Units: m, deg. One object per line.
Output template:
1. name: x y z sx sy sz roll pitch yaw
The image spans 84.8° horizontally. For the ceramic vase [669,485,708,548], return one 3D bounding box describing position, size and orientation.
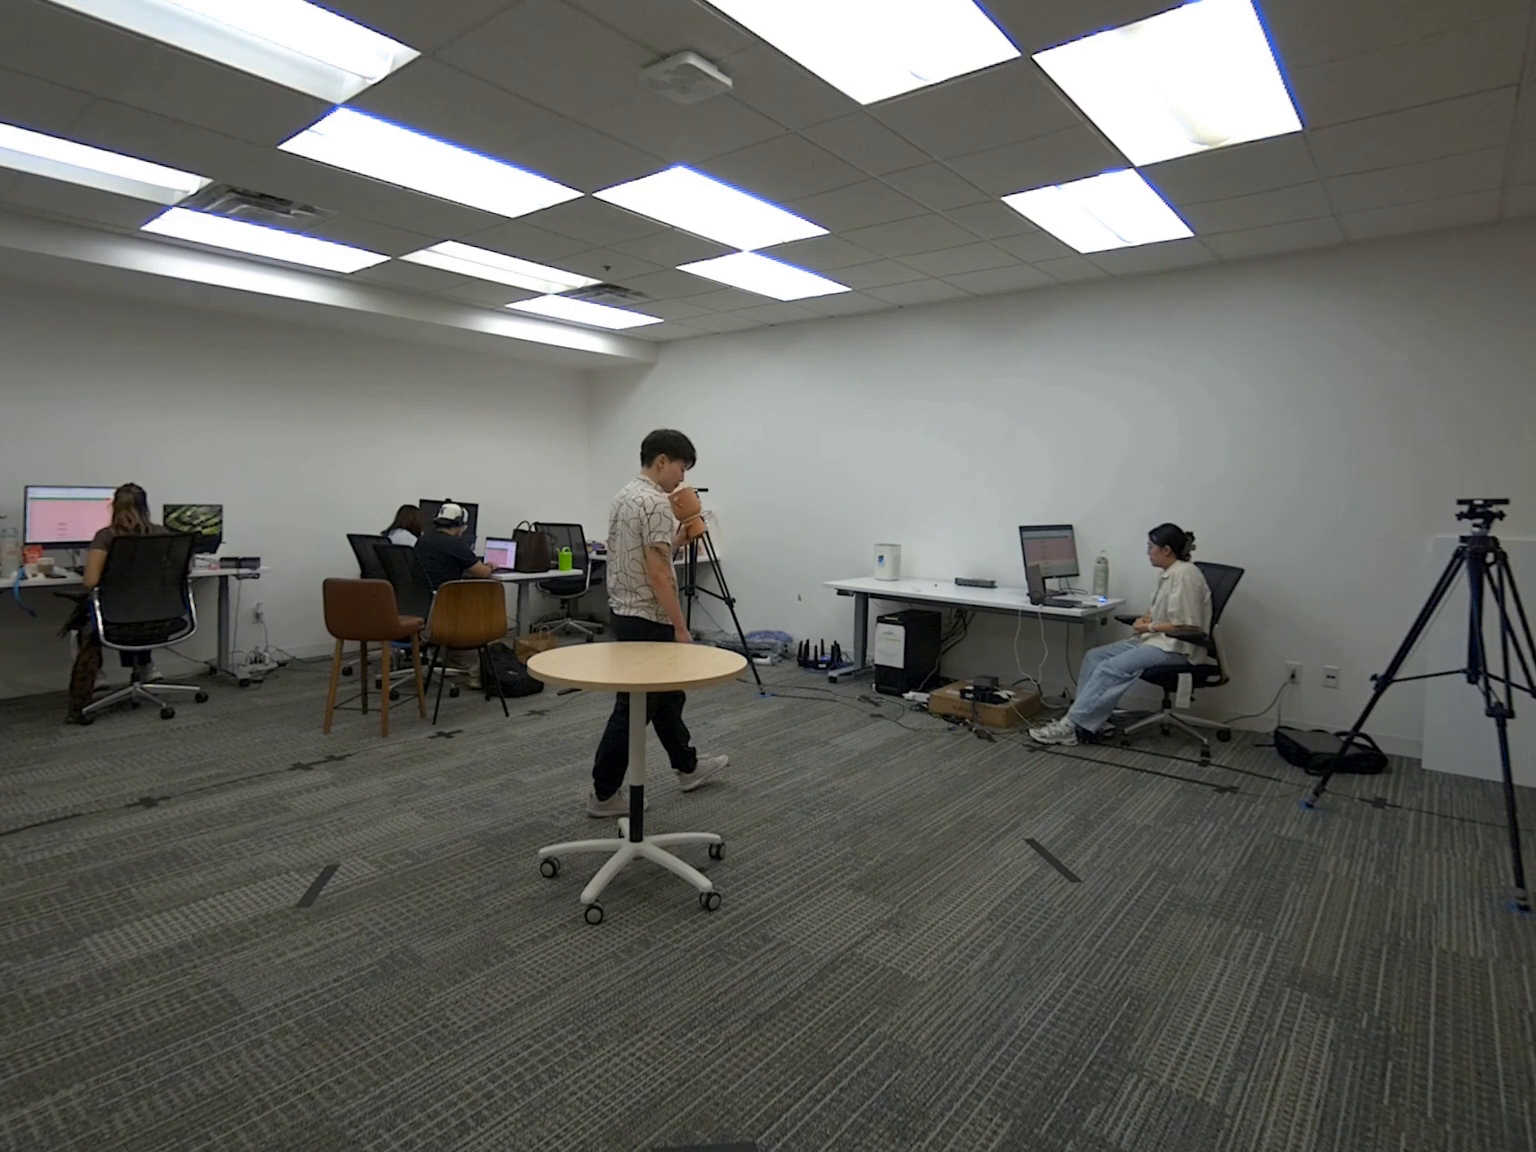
1. ceramic vase: -0.390 -0.296 3.949 0.156 0.221 0.136 -23 -3 -33
